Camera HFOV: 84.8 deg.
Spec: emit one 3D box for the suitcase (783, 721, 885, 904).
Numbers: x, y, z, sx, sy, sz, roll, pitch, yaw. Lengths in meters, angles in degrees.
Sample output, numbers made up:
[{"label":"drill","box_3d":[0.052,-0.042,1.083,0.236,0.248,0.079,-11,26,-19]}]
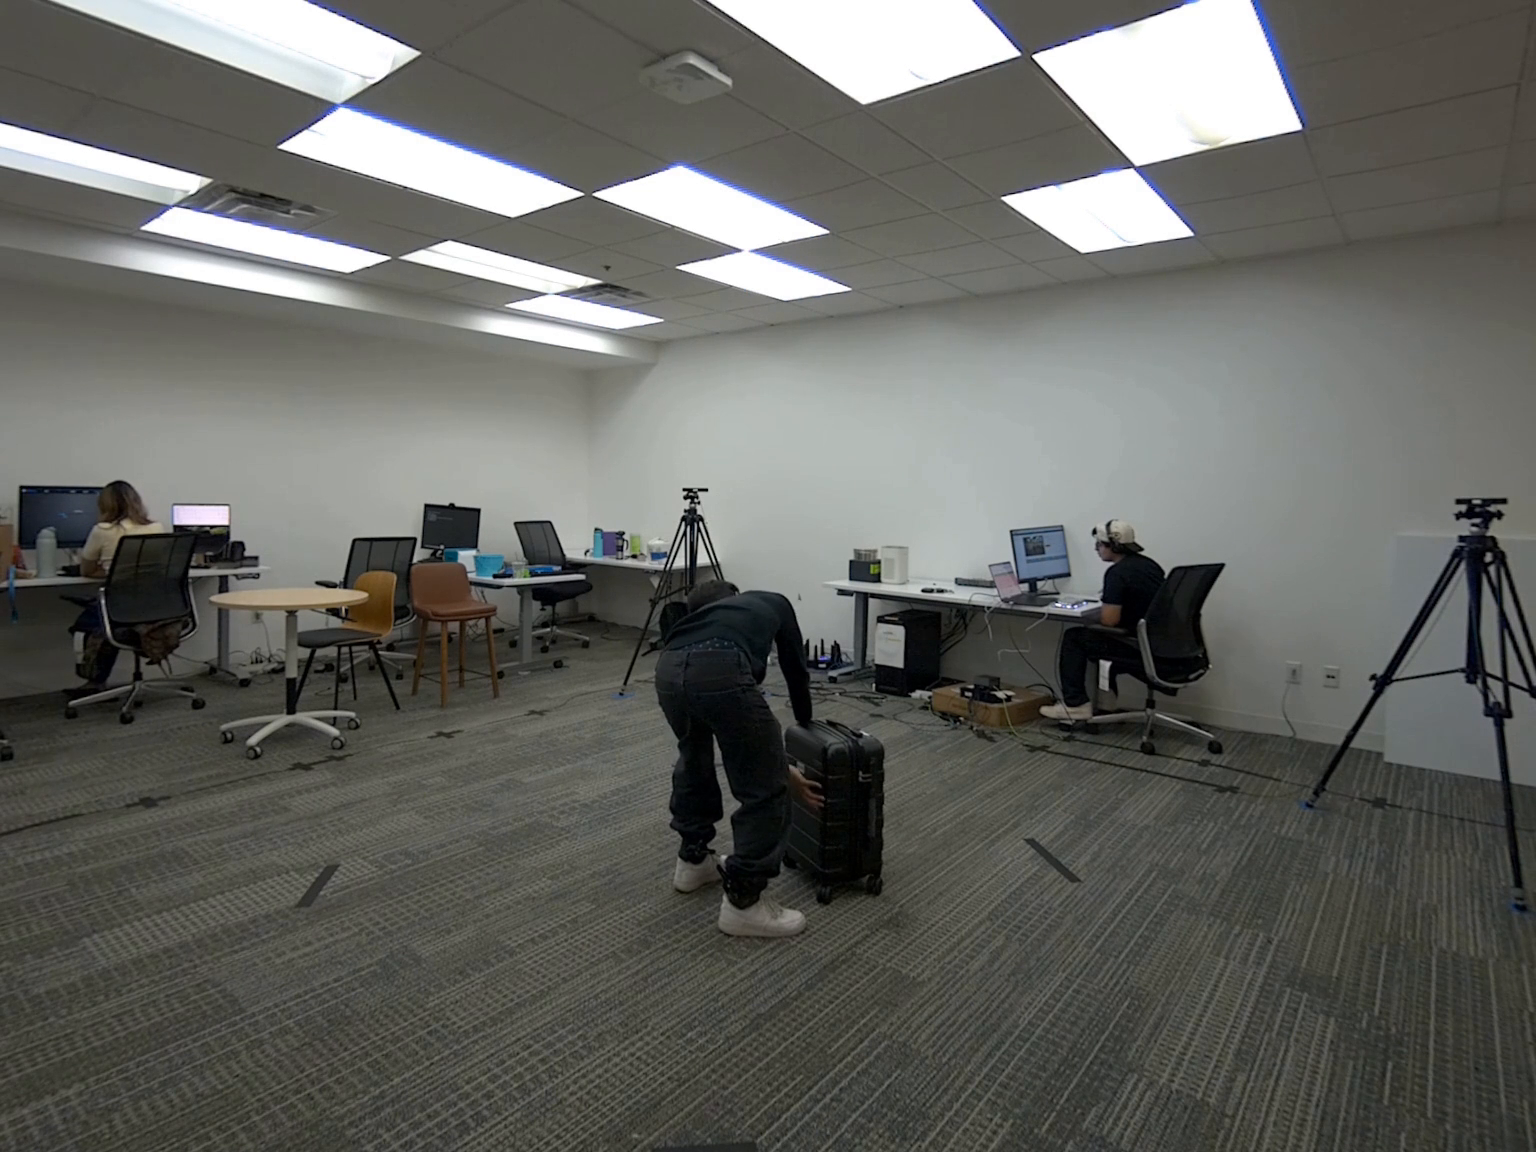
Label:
[{"label":"suitcase","box_3d":[0.220,0.805,3.052,0.242,0.548,0.386,-1,4,-26]}]
